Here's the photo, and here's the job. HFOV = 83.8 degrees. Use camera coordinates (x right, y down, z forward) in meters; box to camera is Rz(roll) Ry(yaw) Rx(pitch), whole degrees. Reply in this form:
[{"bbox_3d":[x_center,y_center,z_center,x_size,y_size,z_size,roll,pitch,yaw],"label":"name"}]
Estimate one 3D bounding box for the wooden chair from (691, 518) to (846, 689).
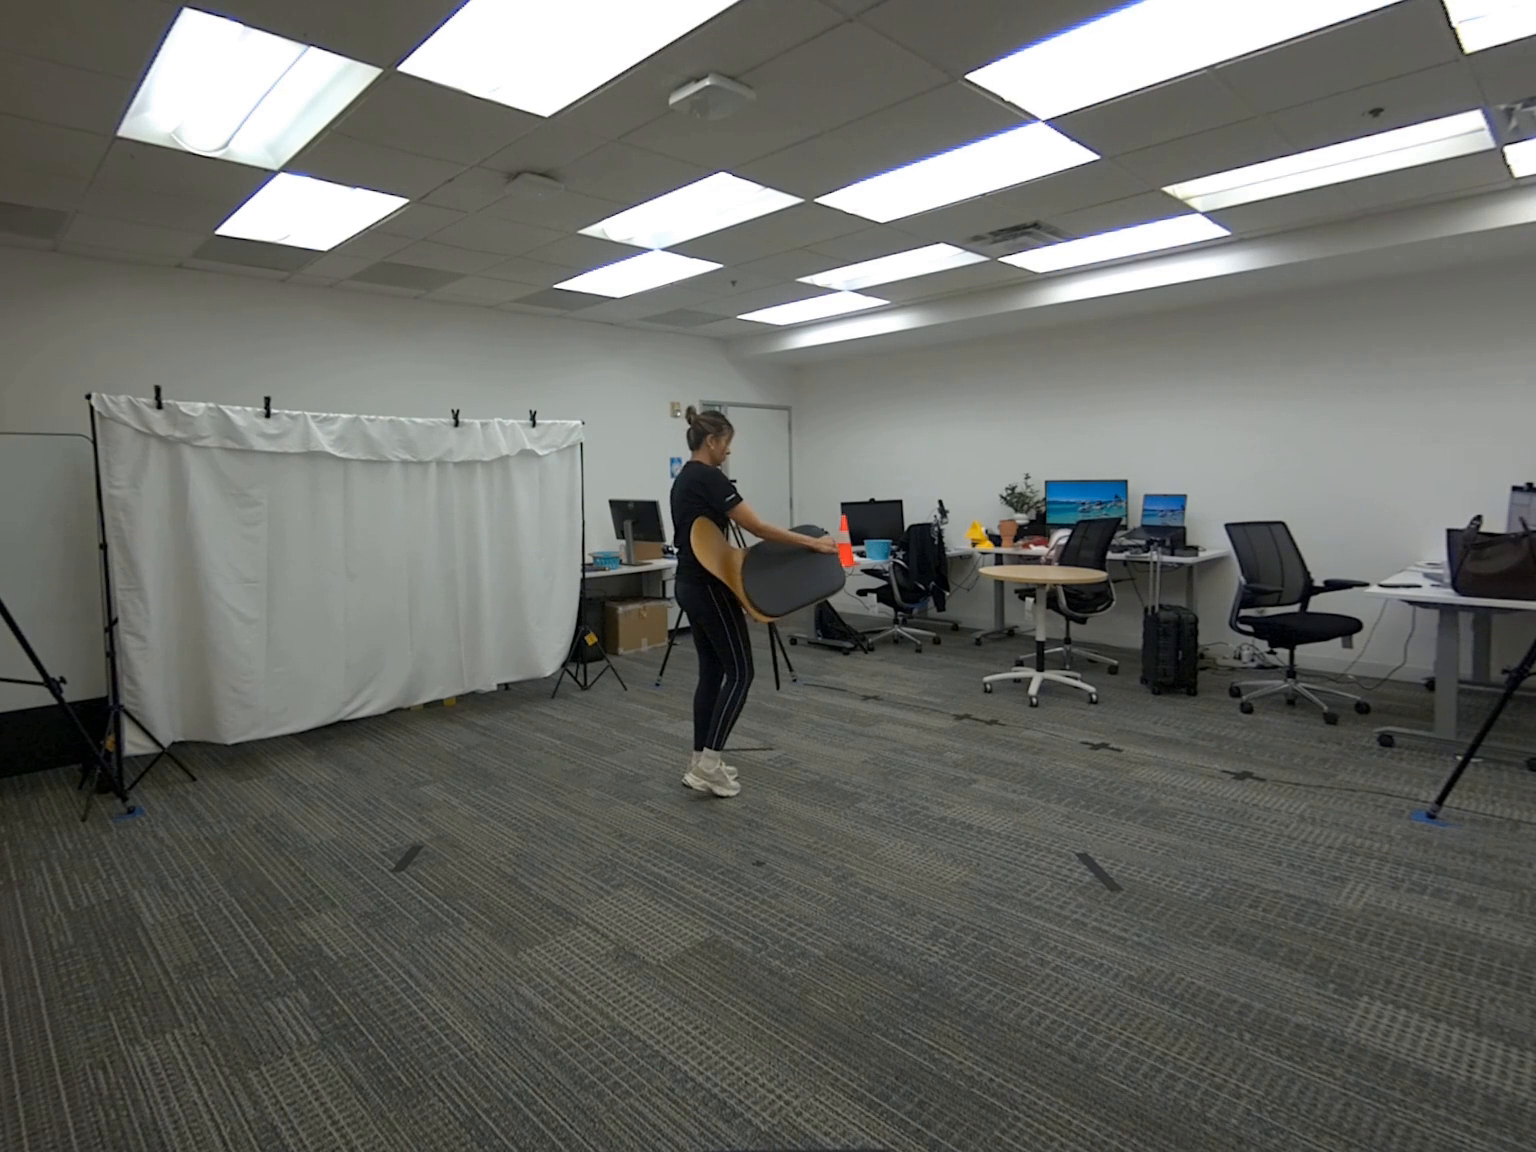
[{"bbox_3d":[0.074,0.025,3.798,0.525,0.844,0.495,-26,44,7],"label":"wooden chair"}]
